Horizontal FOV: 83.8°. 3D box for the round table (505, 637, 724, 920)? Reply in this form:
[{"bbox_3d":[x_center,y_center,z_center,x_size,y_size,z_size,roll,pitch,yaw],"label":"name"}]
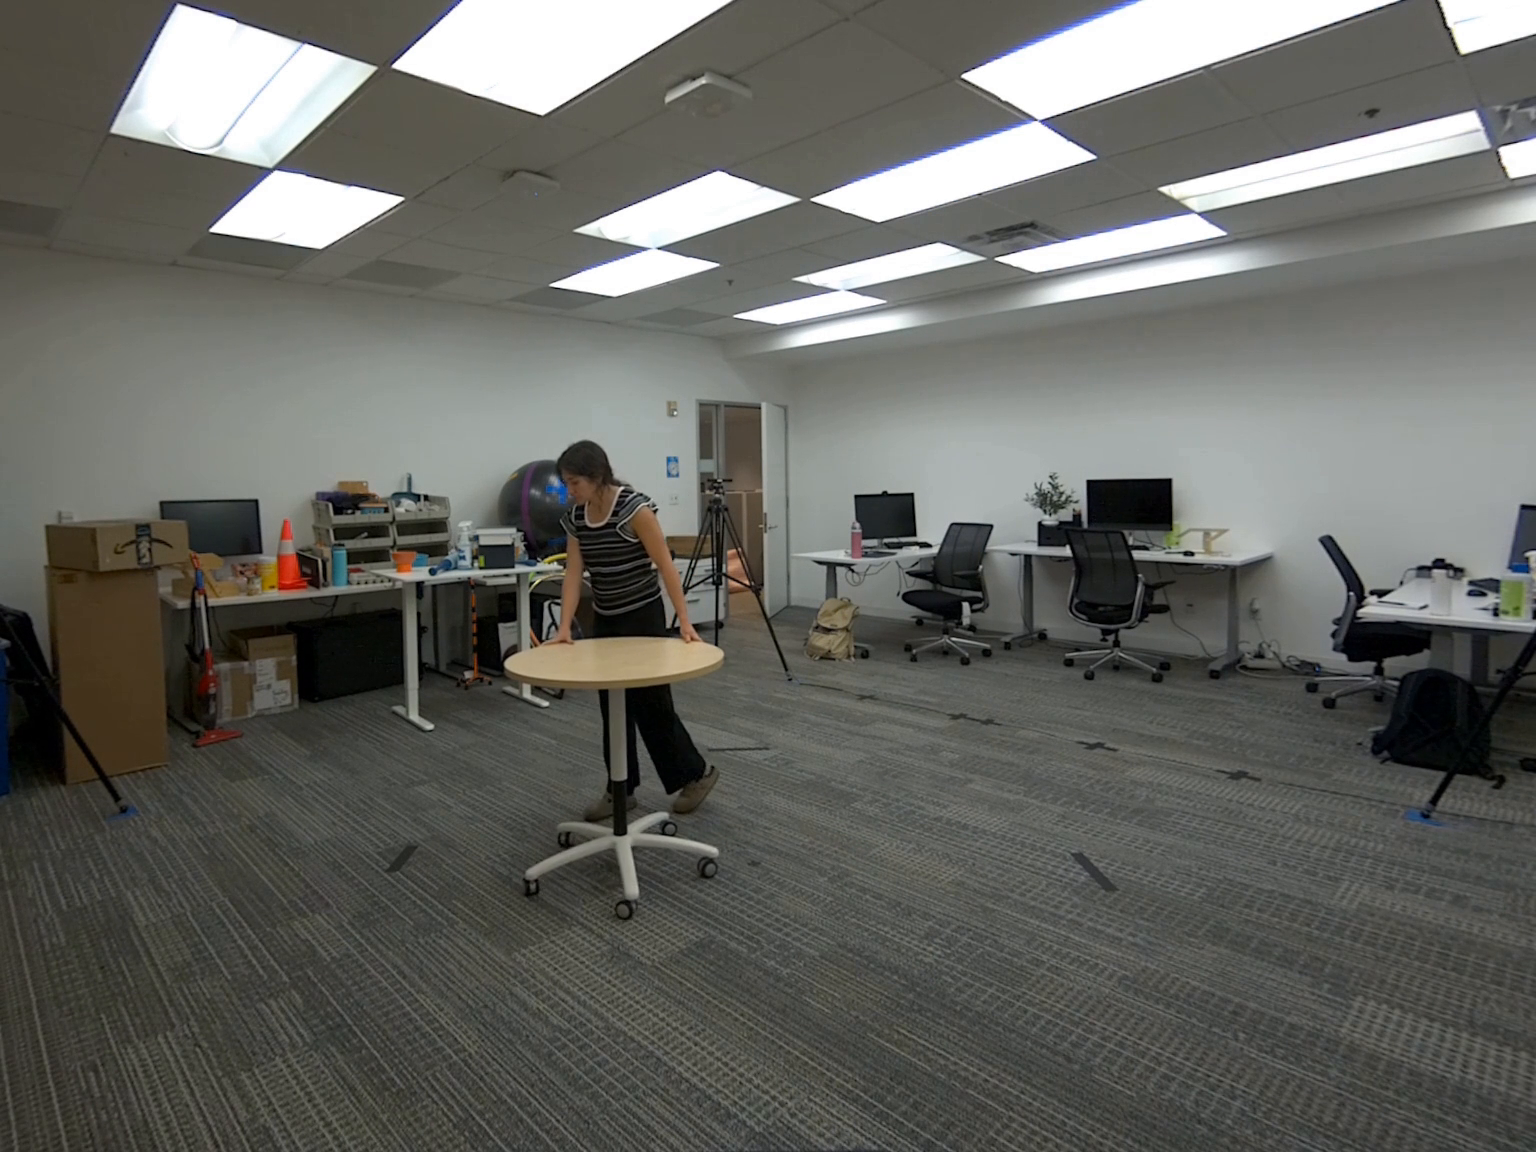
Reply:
[{"bbox_3d":[-0.529,0.679,3.032,0.763,0.791,0.768,-2,4,-2],"label":"round table"}]
